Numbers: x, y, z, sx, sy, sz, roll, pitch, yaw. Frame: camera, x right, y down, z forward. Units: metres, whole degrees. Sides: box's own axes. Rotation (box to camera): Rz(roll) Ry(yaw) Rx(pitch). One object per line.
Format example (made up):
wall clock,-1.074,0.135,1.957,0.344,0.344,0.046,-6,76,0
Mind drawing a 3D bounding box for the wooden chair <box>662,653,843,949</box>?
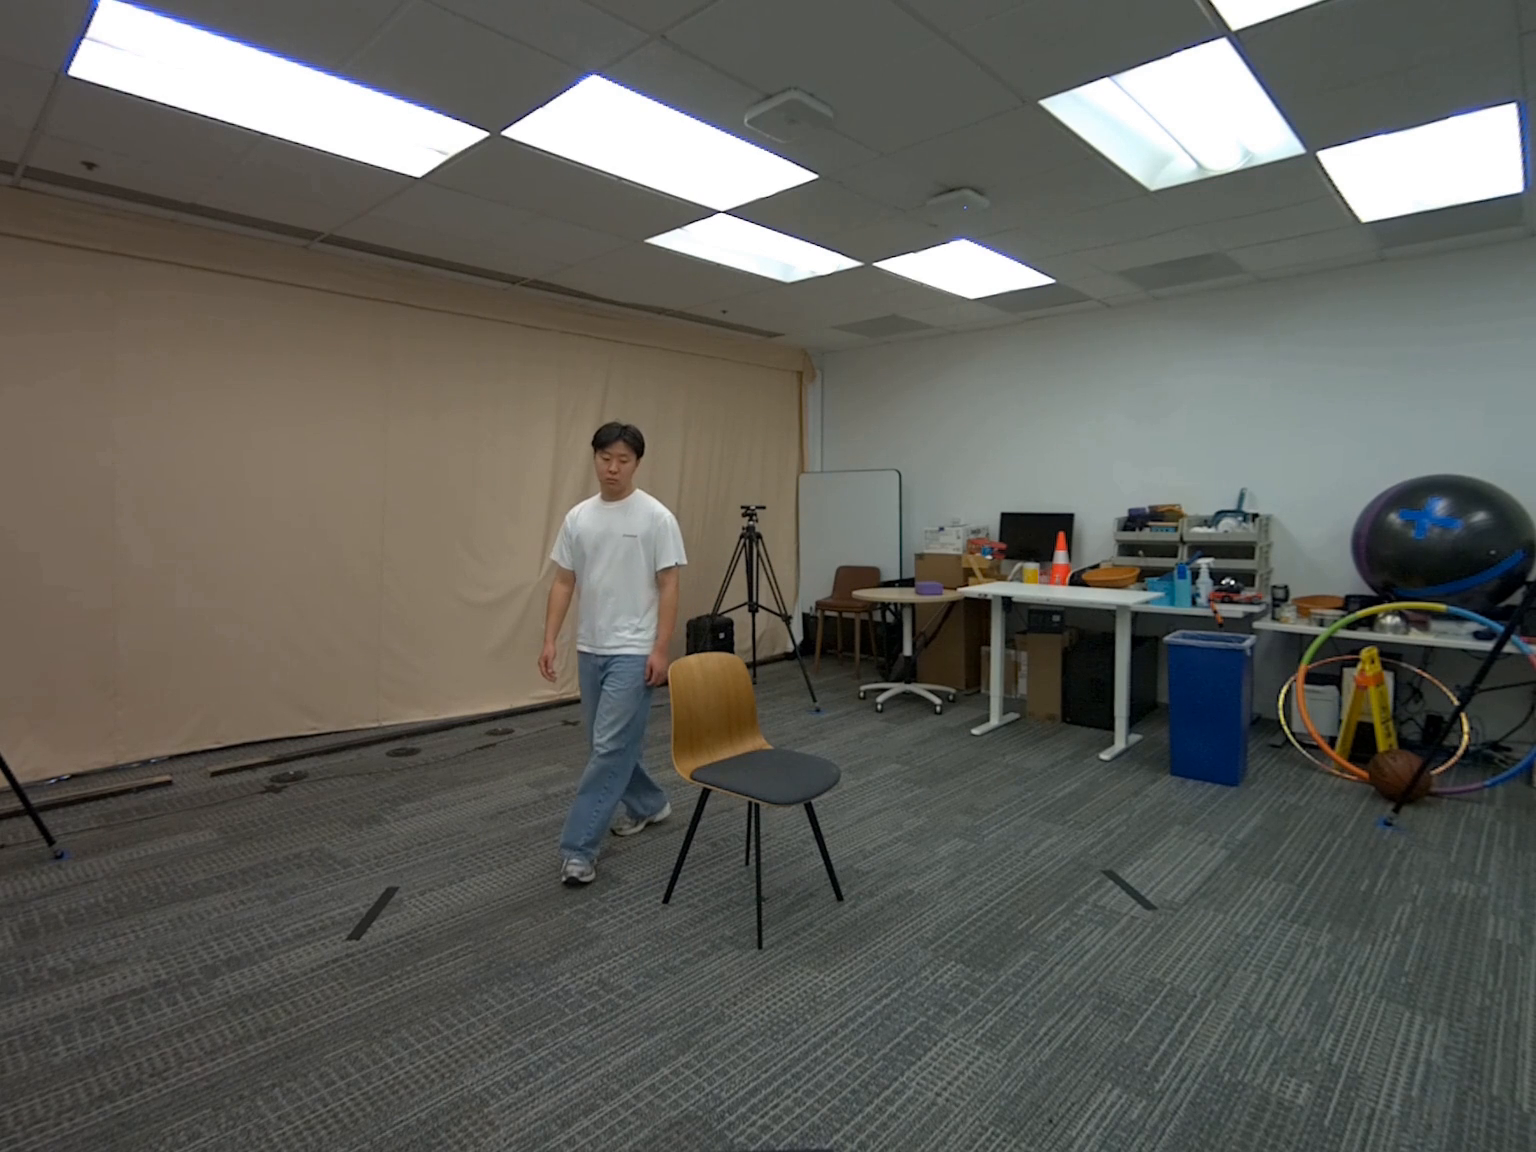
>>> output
wooden chair,-0.043,0.721,2.919,0.539,0.877,0.463,-3,0,42
